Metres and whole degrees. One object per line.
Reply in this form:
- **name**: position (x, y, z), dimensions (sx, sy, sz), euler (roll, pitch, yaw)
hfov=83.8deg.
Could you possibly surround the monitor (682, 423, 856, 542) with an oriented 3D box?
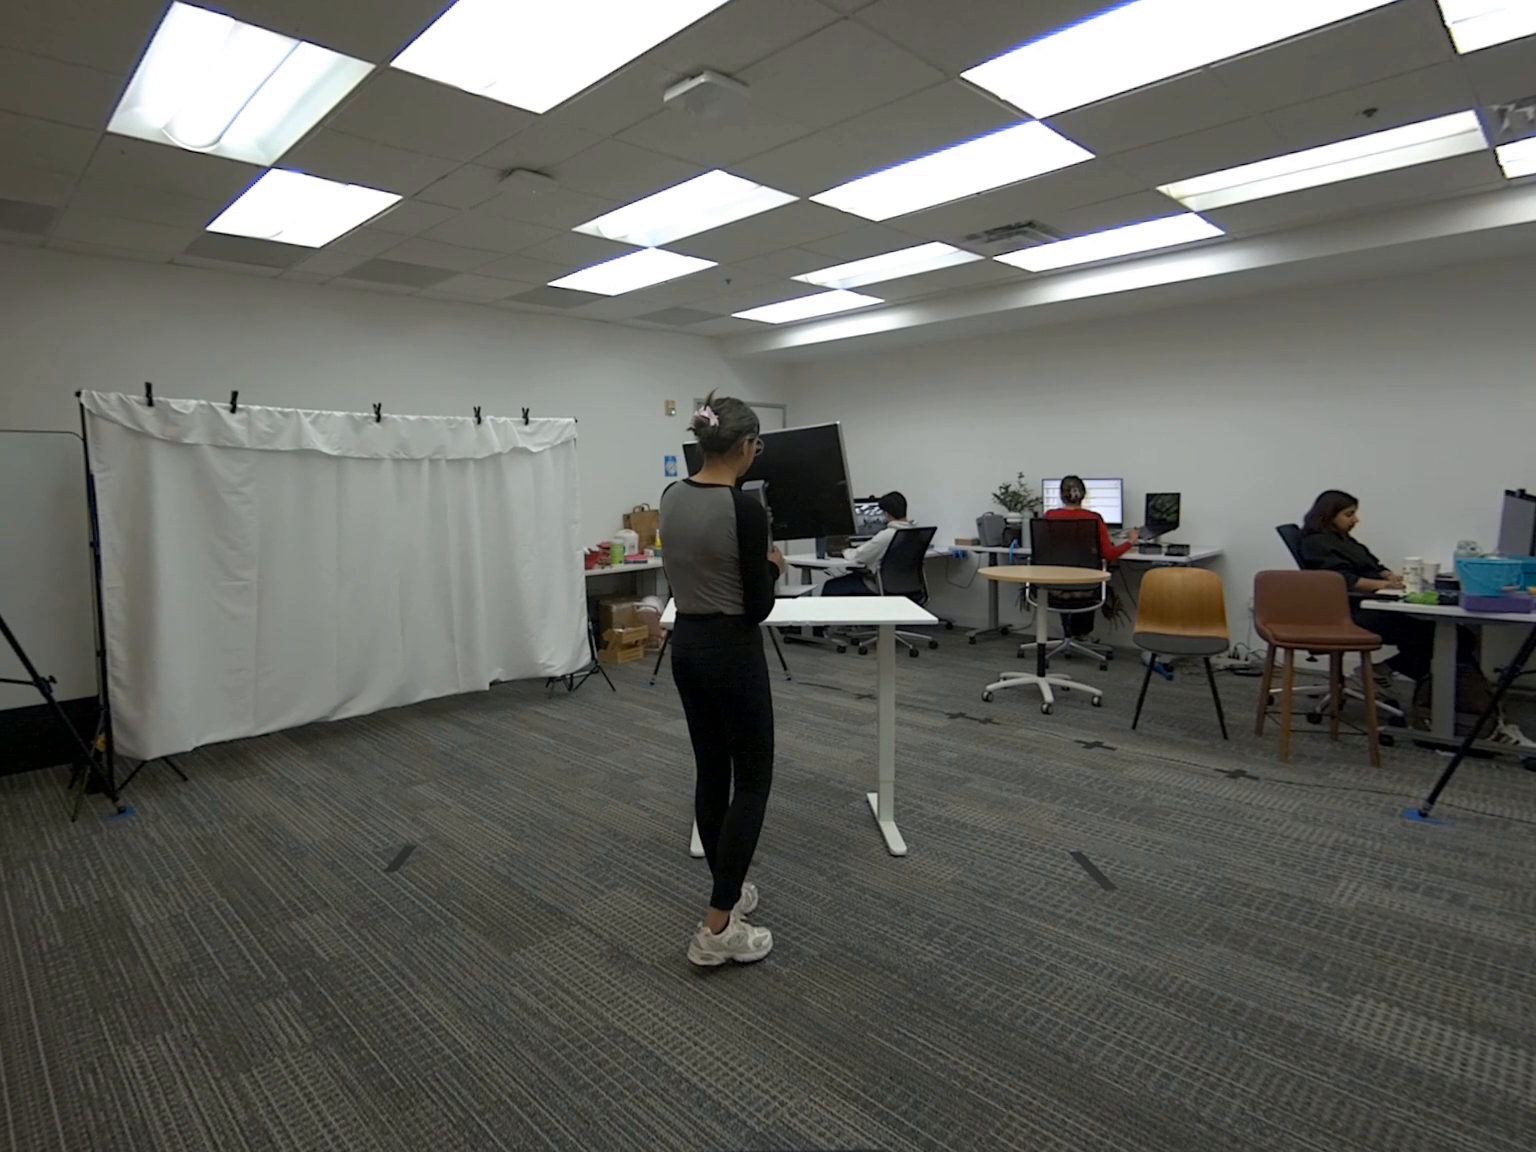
- **monitor**: position (0.003, -0.201, 2.764), dimensions (0.550, 0.520, 0.184), euler (-4, 5, 25)
